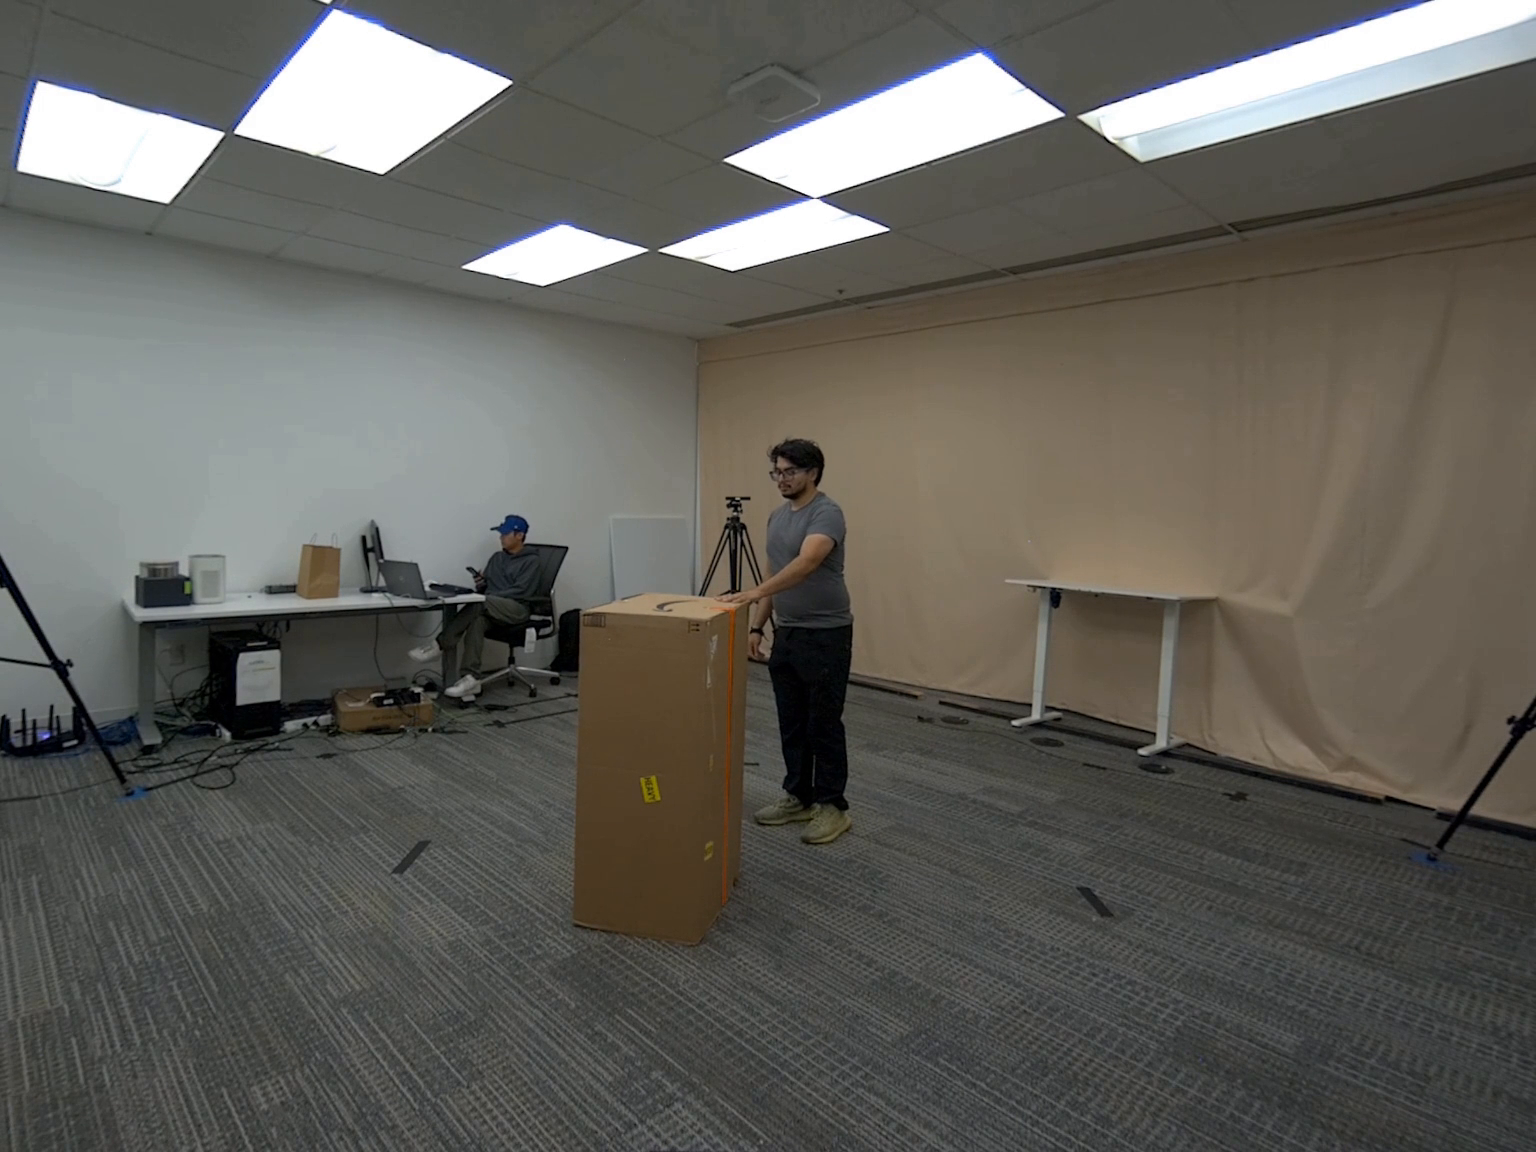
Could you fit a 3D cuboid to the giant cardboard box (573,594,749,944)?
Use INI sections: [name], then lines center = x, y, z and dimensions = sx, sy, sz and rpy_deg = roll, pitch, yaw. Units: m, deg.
[giant cardboard box]
center = -0.351, 0.609, 2.910
dimensions = 0.431, 1.024, 0.572
rpy_deg = 3, 3, 13
